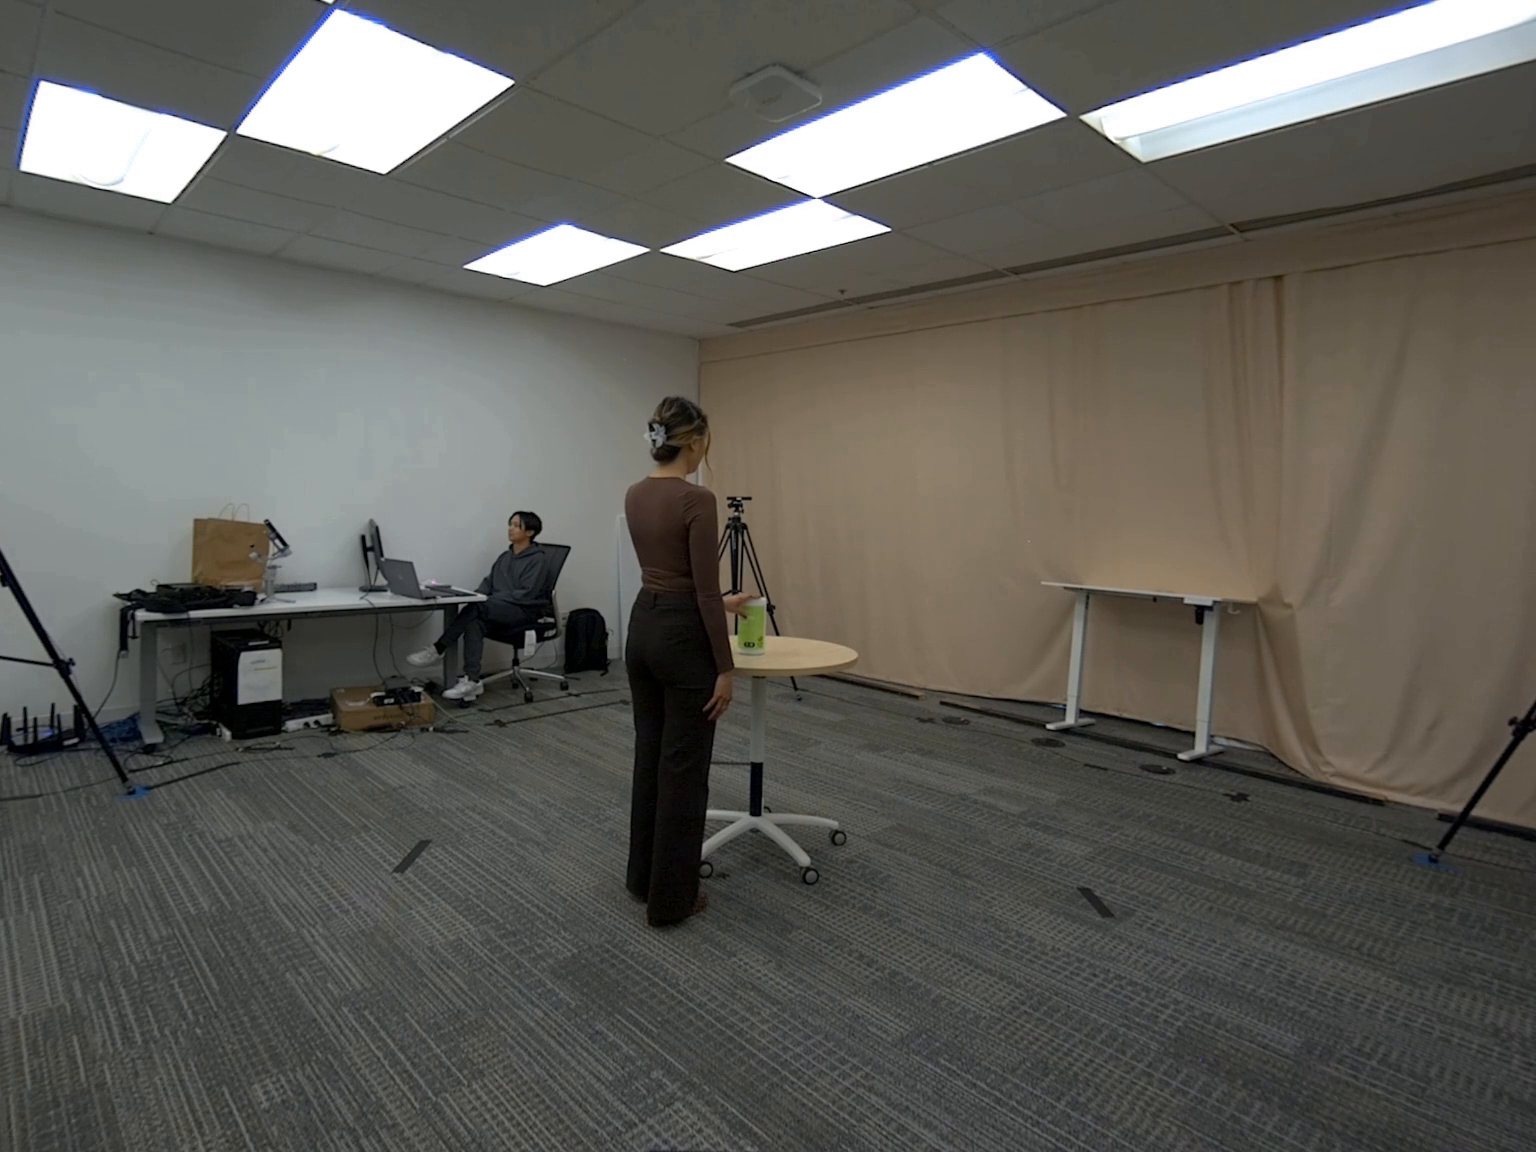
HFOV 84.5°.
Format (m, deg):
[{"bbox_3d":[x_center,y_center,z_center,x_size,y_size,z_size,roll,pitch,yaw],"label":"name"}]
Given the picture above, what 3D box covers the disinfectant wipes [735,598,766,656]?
[{"bbox_3d":[-0.071,0.192,3.241,0.118,0.217,0.118,0,2,-1],"label":"disinfectant wipes"}]
